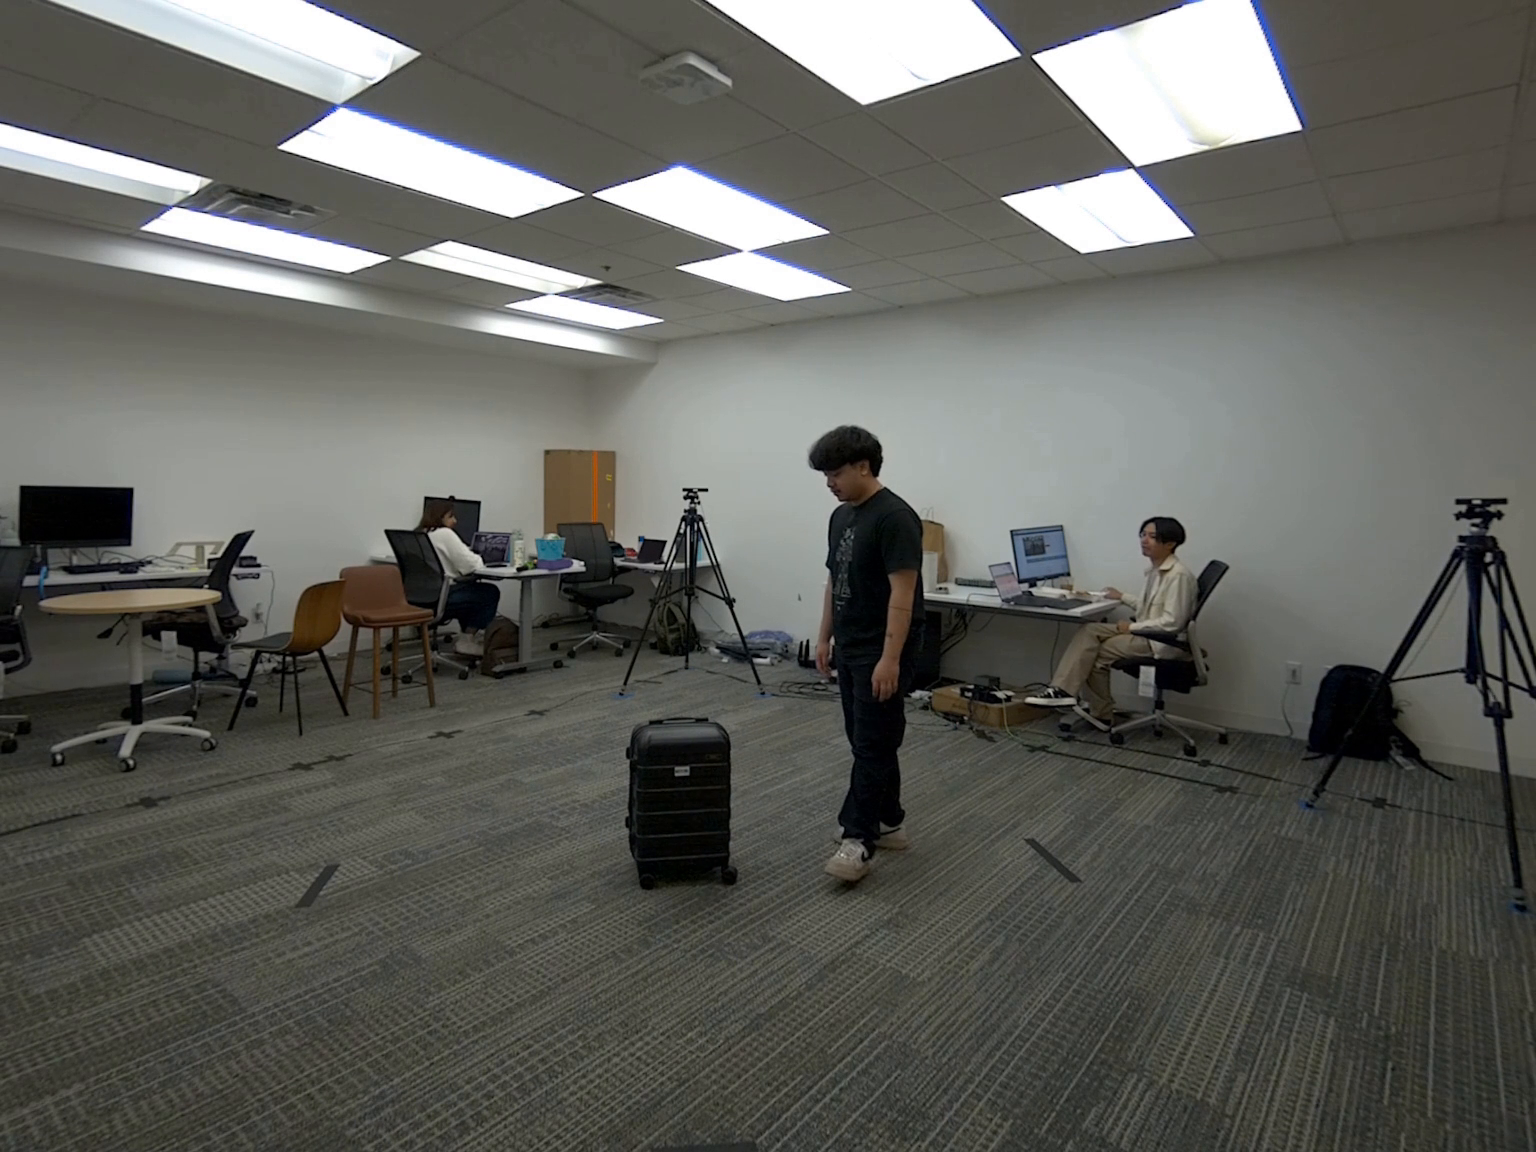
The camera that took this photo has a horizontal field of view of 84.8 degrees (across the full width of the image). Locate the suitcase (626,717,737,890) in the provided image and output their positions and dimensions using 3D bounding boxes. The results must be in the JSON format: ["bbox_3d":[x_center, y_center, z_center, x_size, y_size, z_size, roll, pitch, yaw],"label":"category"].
[{"bbox_3d":[-0.323,0.798,3.079,0.371,0.548,0.252,2,2,-12],"label":"suitcase"}]
